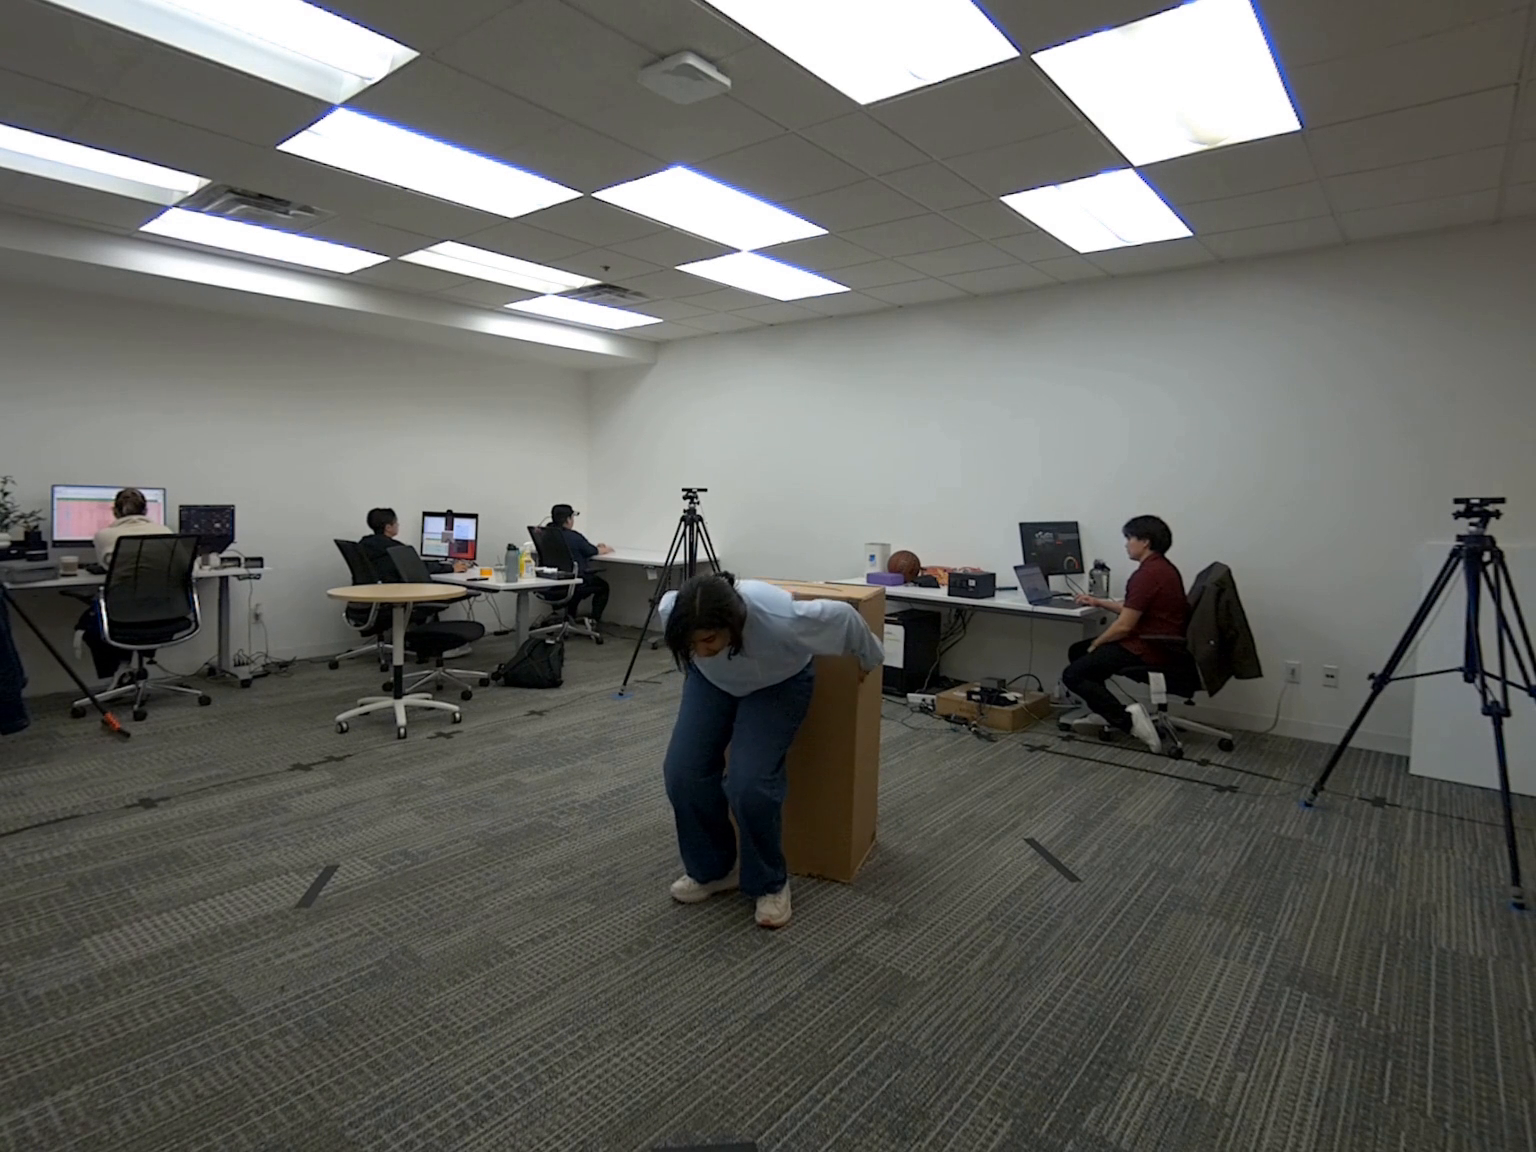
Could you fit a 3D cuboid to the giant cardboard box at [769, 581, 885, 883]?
[{"bbox_3d":[0.107,0.550,3.293,0.591,1.023,0.417,3,4,22],"label":"giant cardboard box"}]
